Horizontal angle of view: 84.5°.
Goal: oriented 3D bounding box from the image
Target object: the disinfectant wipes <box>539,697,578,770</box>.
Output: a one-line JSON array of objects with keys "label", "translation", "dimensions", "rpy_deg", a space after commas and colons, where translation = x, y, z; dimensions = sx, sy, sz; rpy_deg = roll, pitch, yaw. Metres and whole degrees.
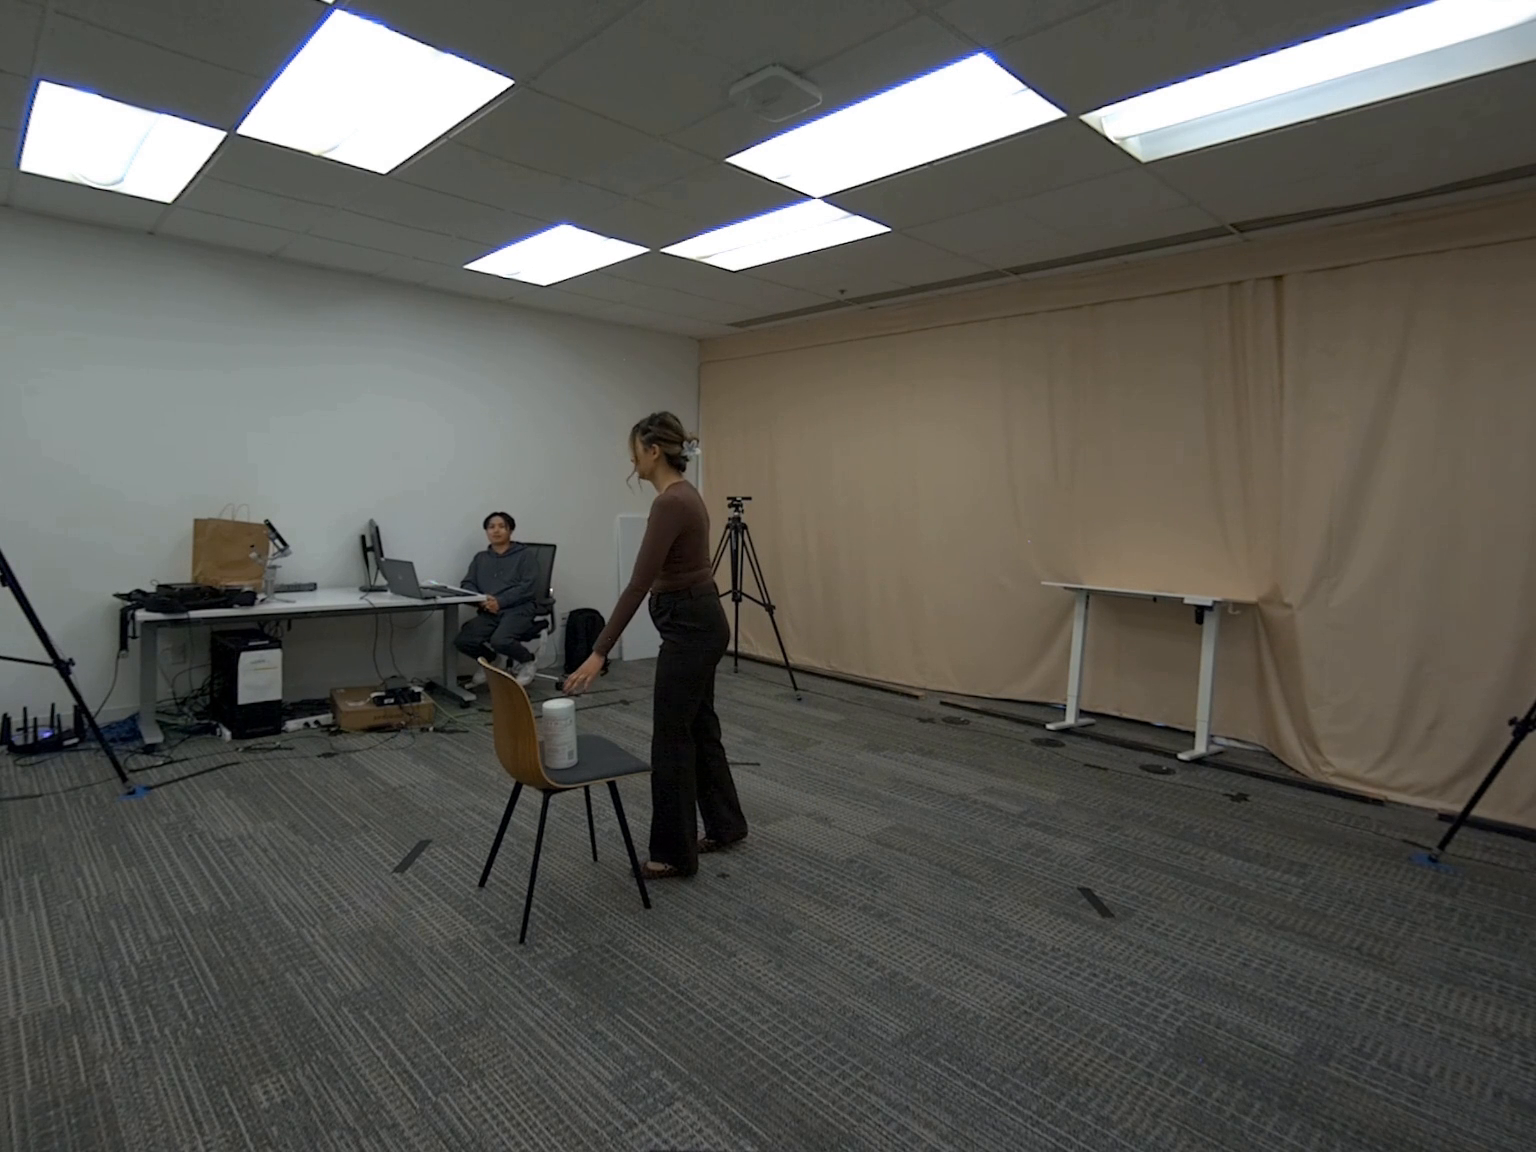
[{"label": "disinfectant wipes", "translation": [-0.718, 0.542, 2.852], "dimensions": [0.118, 0.216, 0.118], "rpy_deg": [-2, 7, -1]}]
